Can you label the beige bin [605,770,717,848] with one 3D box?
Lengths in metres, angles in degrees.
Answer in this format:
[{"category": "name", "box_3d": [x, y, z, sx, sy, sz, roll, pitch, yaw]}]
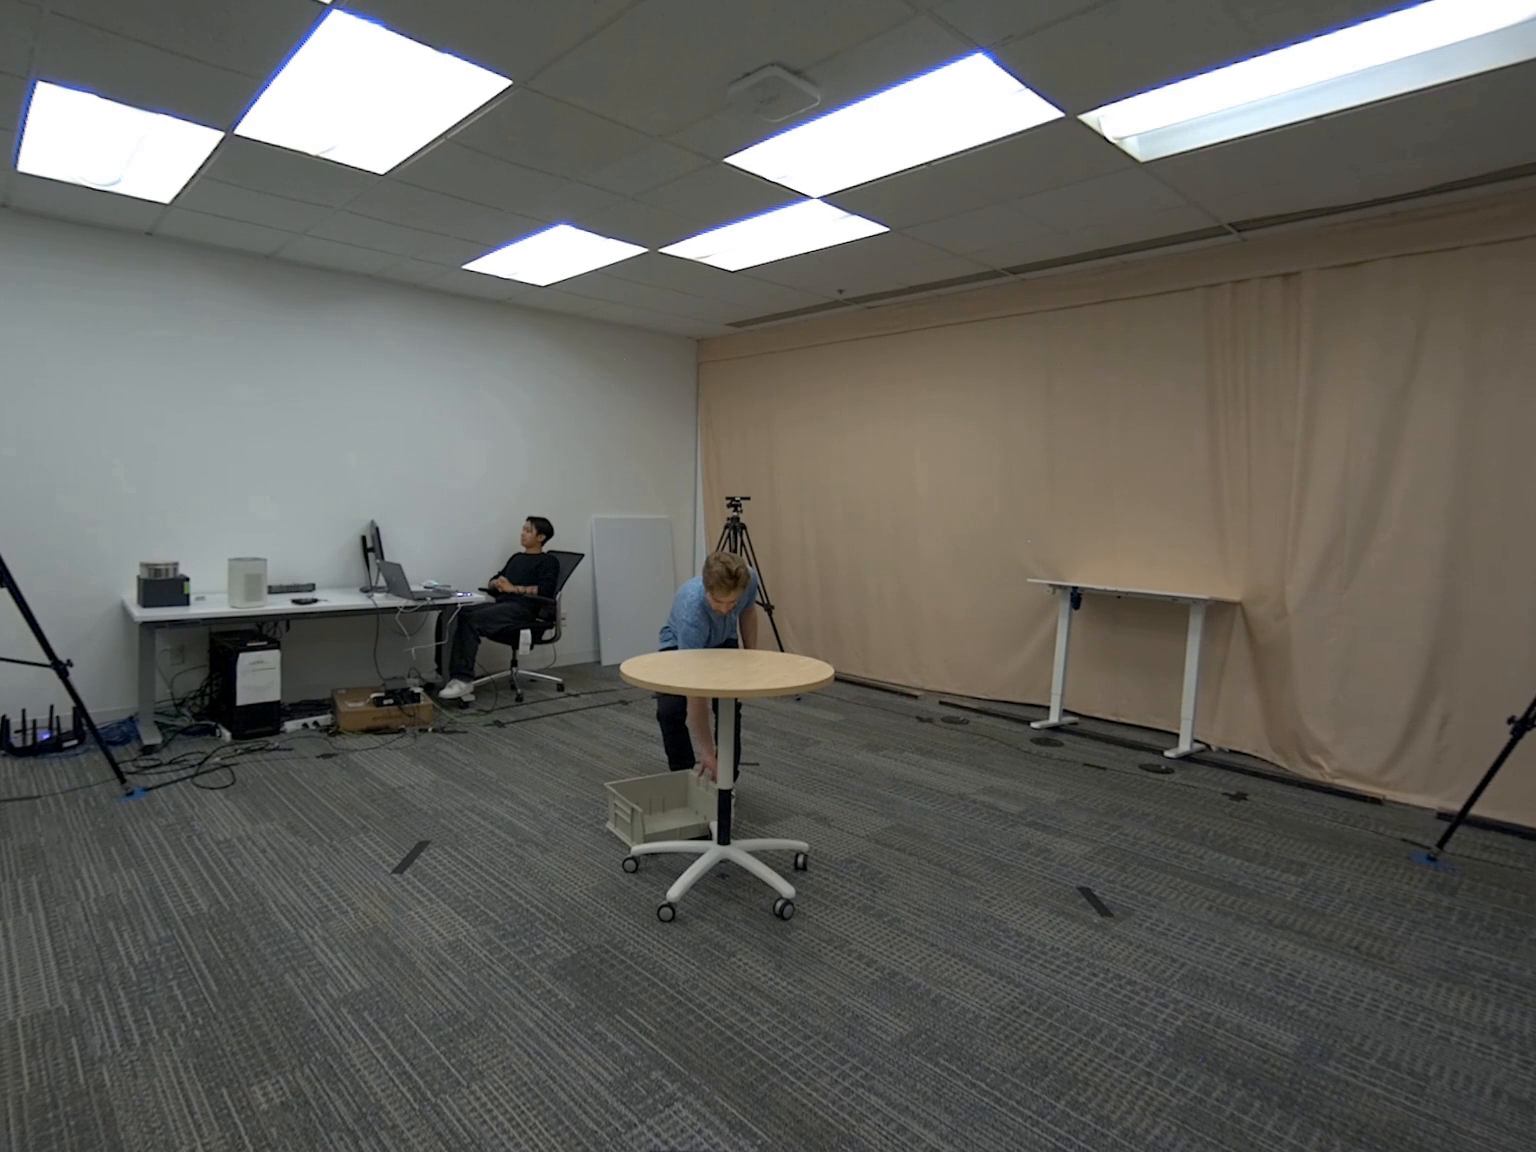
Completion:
[{"category": "beige bin", "box_3d": [-0.424, 0.978, 3.510, 0.413, 0.188, 0.386, -3, 5, -34]}]
